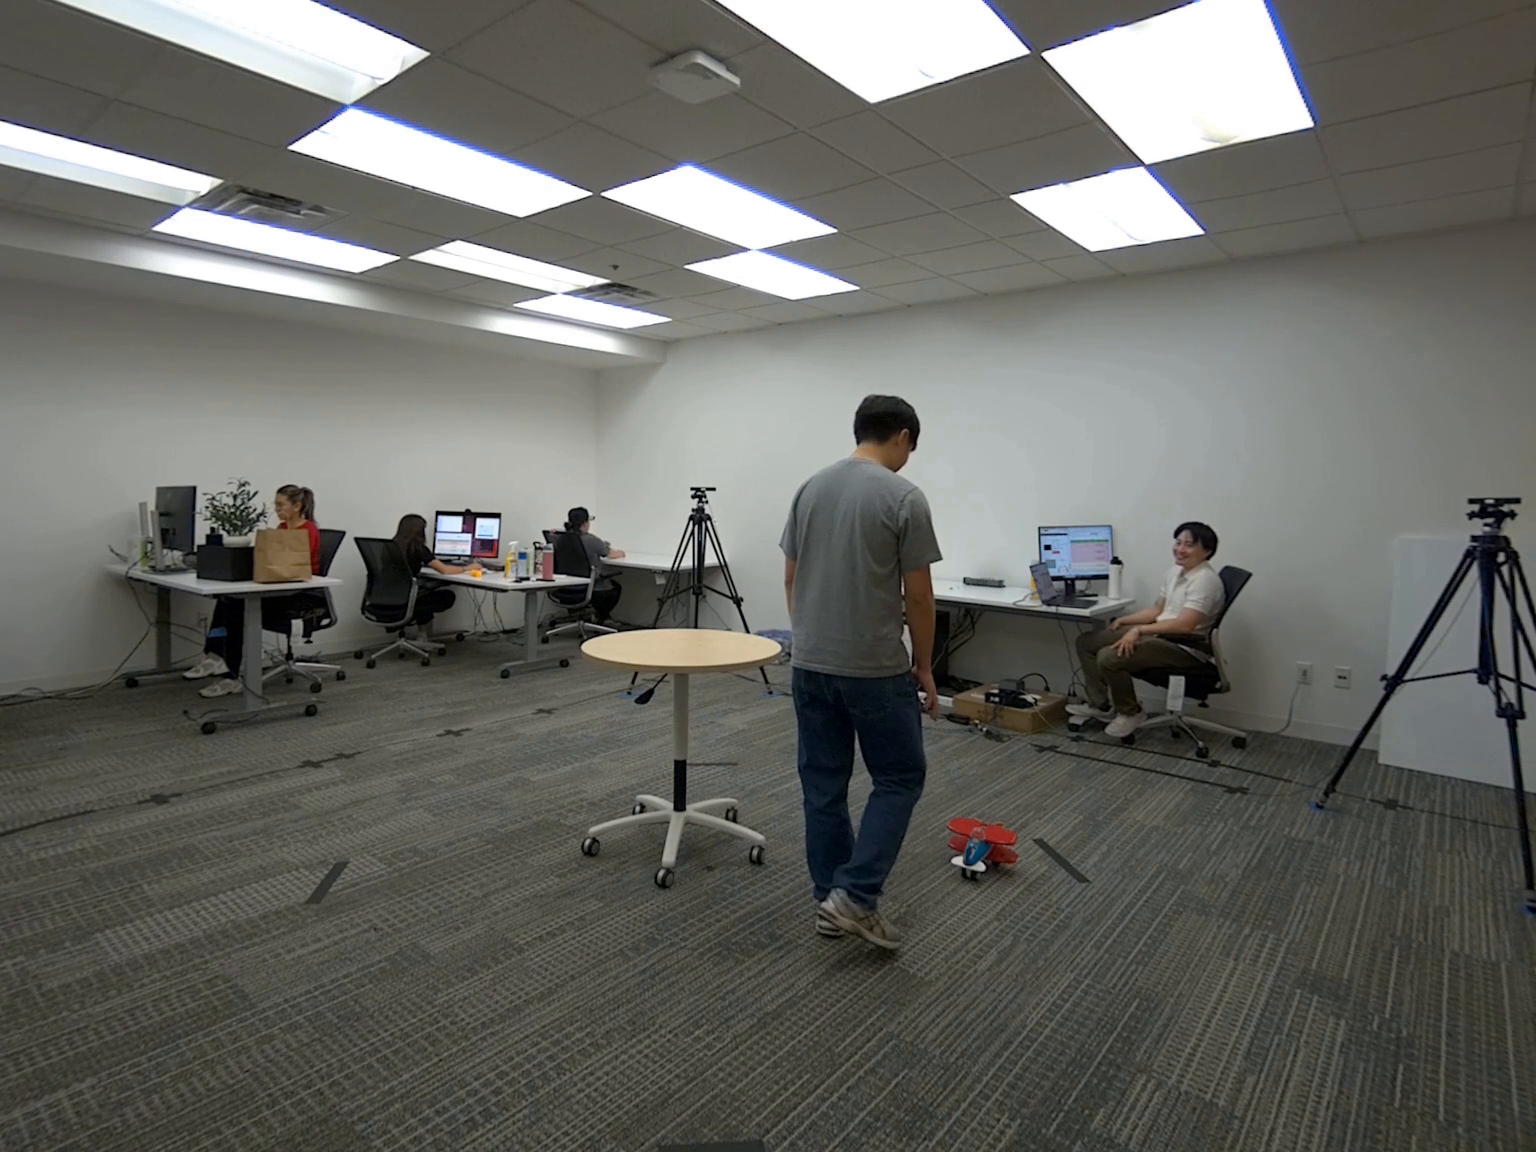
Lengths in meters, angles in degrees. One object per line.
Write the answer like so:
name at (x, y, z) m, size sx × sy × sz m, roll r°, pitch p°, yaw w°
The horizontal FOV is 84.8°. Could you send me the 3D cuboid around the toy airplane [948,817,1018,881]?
toy airplane at (0.793, 1.011, 3.147) m, size 0.253 × 0.156 × 0.258 m, roll 2°, pitch 4°, yaw 5°
